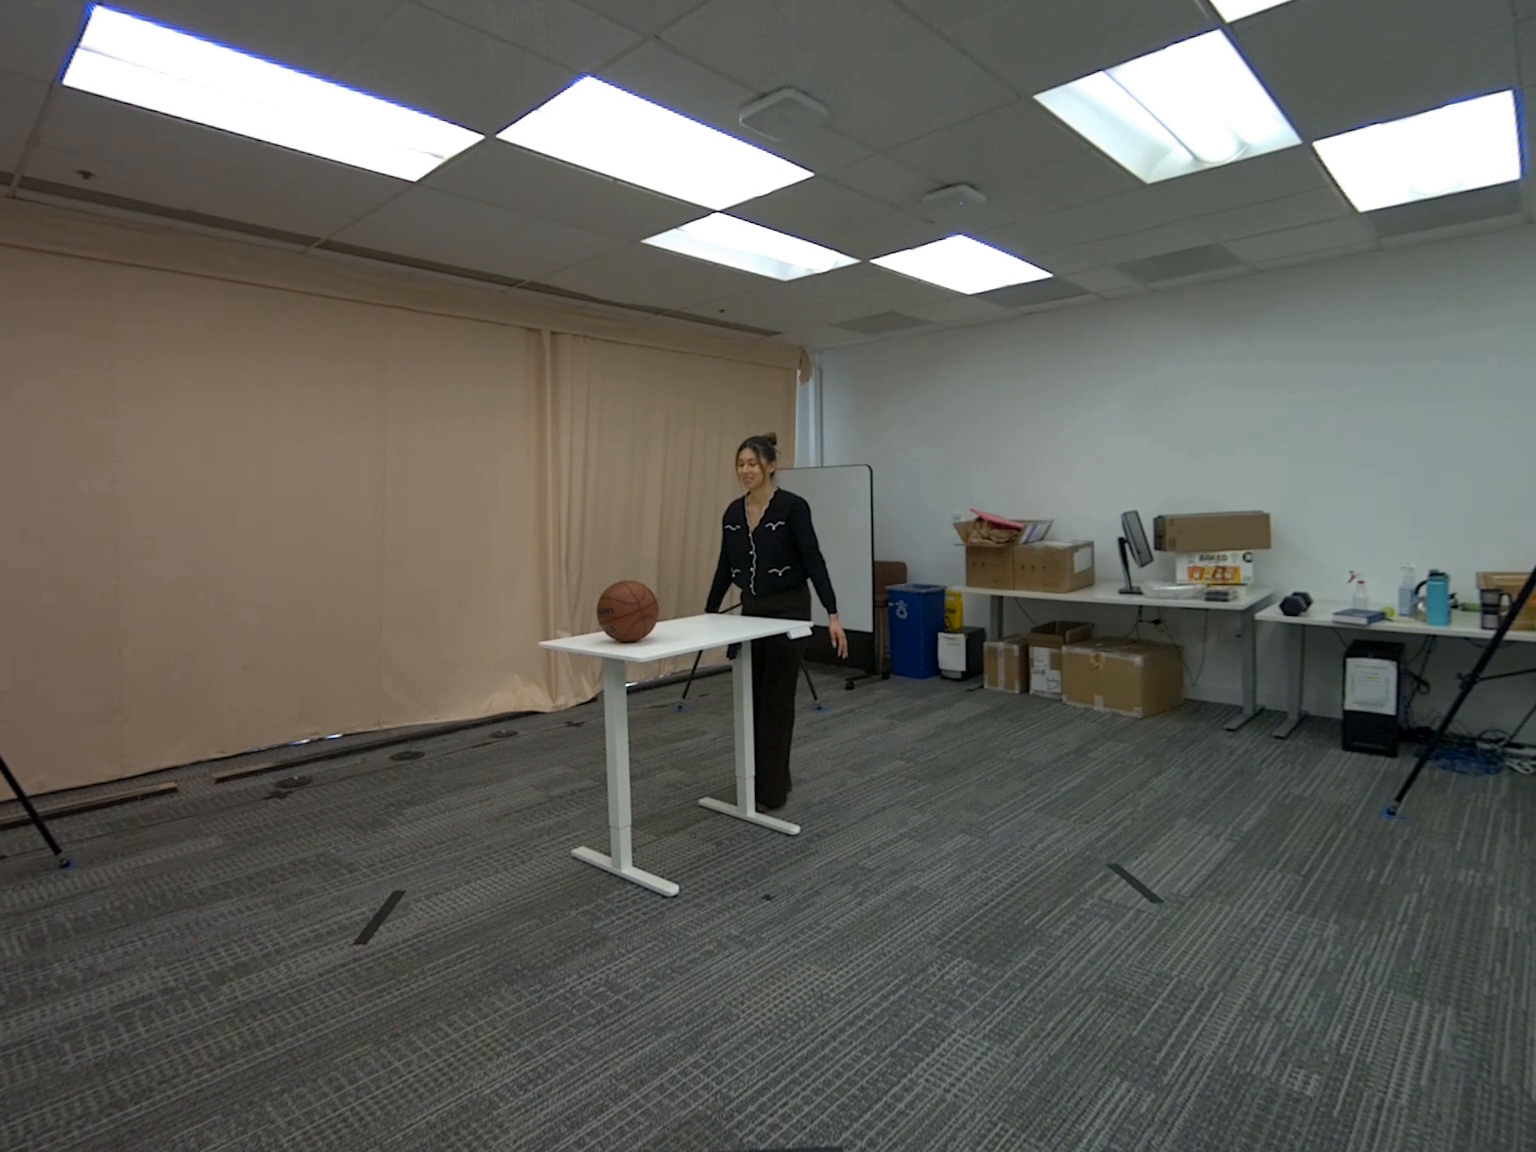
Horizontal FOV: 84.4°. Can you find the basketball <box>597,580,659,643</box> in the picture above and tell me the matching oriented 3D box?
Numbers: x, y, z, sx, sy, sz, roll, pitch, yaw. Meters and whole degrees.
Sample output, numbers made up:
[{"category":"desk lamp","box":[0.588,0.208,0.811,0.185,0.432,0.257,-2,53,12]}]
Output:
[{"category":"basketball","box":[-0.540,0.139,3.215,0.236,0.235,0.237,-1,4,-2]}]
